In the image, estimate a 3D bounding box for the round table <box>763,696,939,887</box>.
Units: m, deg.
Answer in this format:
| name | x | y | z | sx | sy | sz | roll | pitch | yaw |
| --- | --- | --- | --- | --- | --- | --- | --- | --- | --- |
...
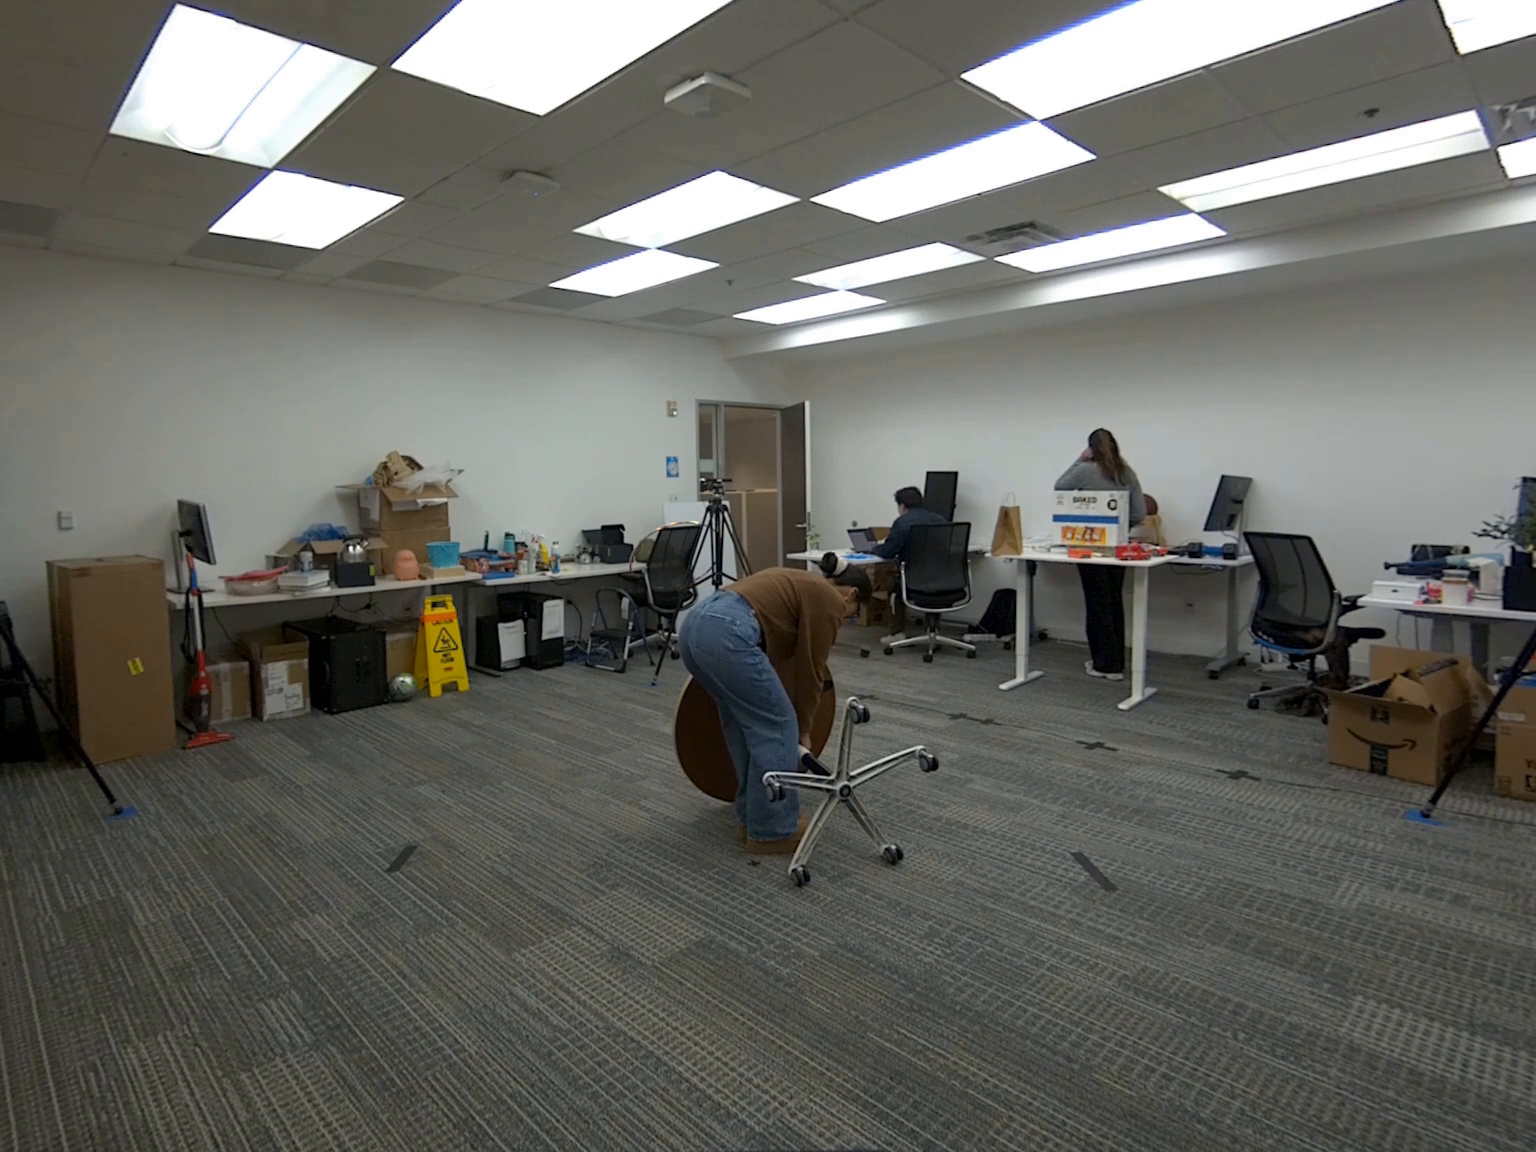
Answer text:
| name | x | y | z | sx | sy | sz | roll | pitch | yaw |
| --- | --- | --- | --- | --- | --- | --- | --- | --- | --- |
| round table | 0.137 | 0.687 | 3.300 | 0.748 | 0.757 | 0.819 | -3 | 13 | -26 |
